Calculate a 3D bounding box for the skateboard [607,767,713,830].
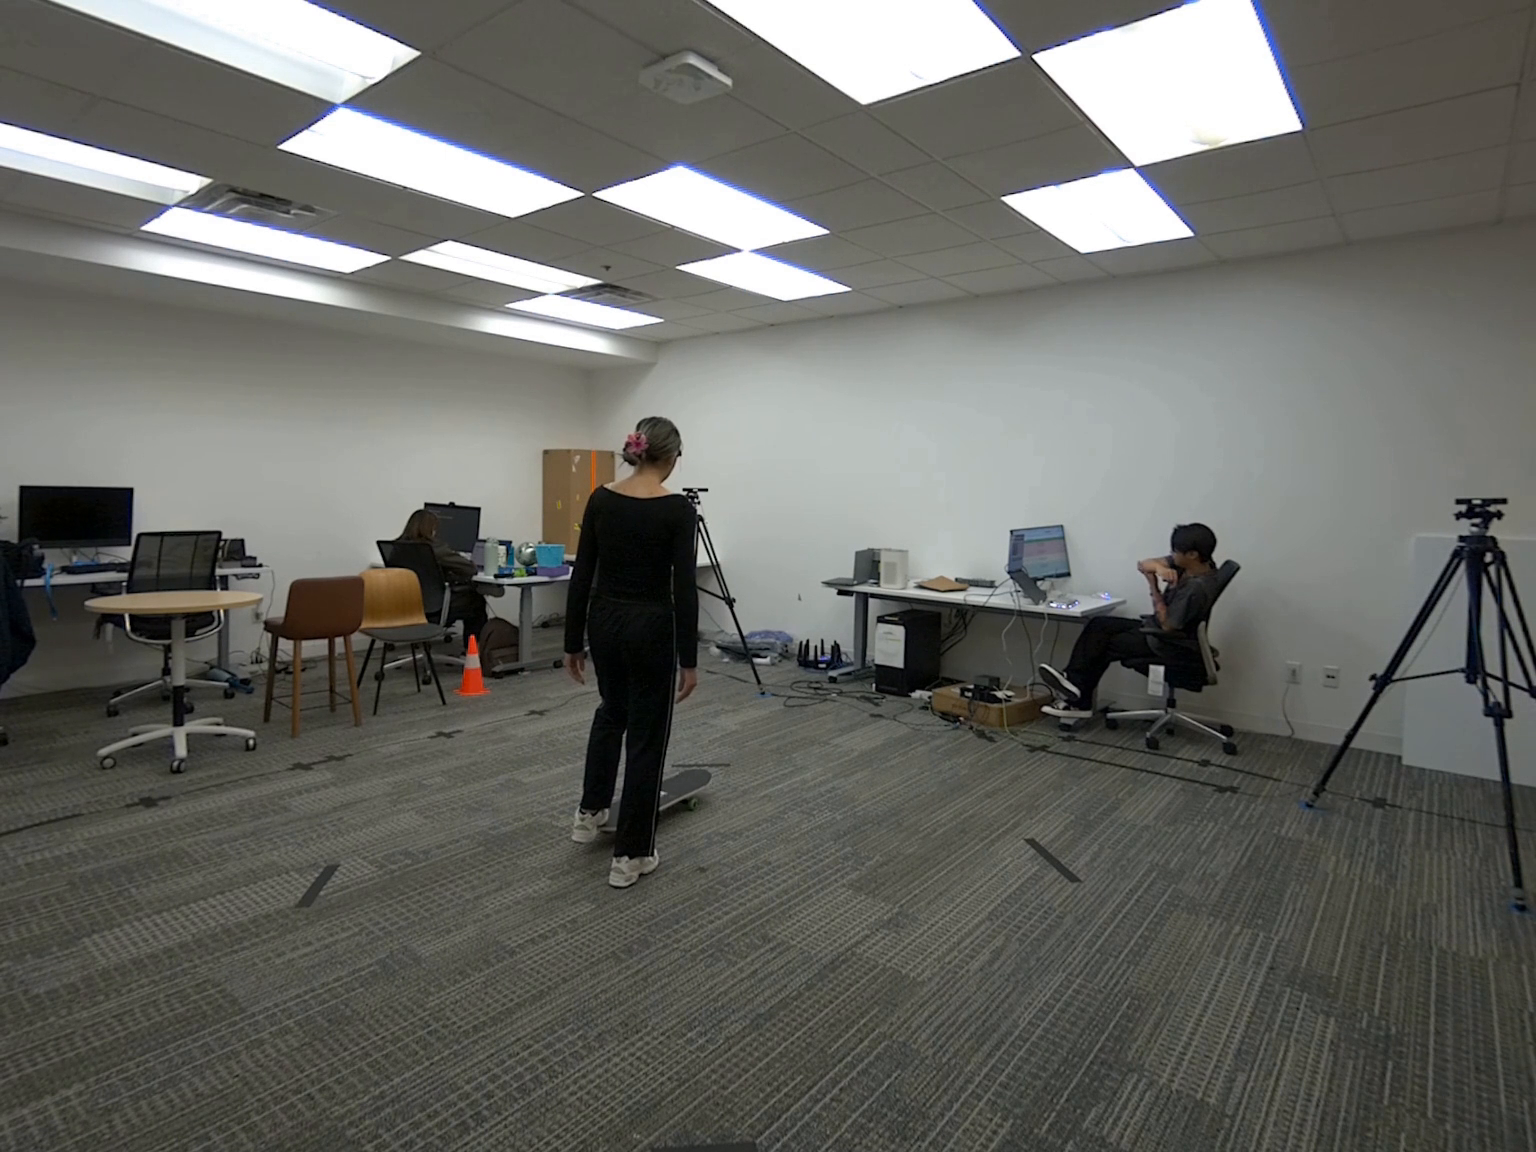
[{"bbox_3d":[-0.504,0.970,3.568,0.199,0.110,0.765,5,8,31],"label":"skateboard"}]
